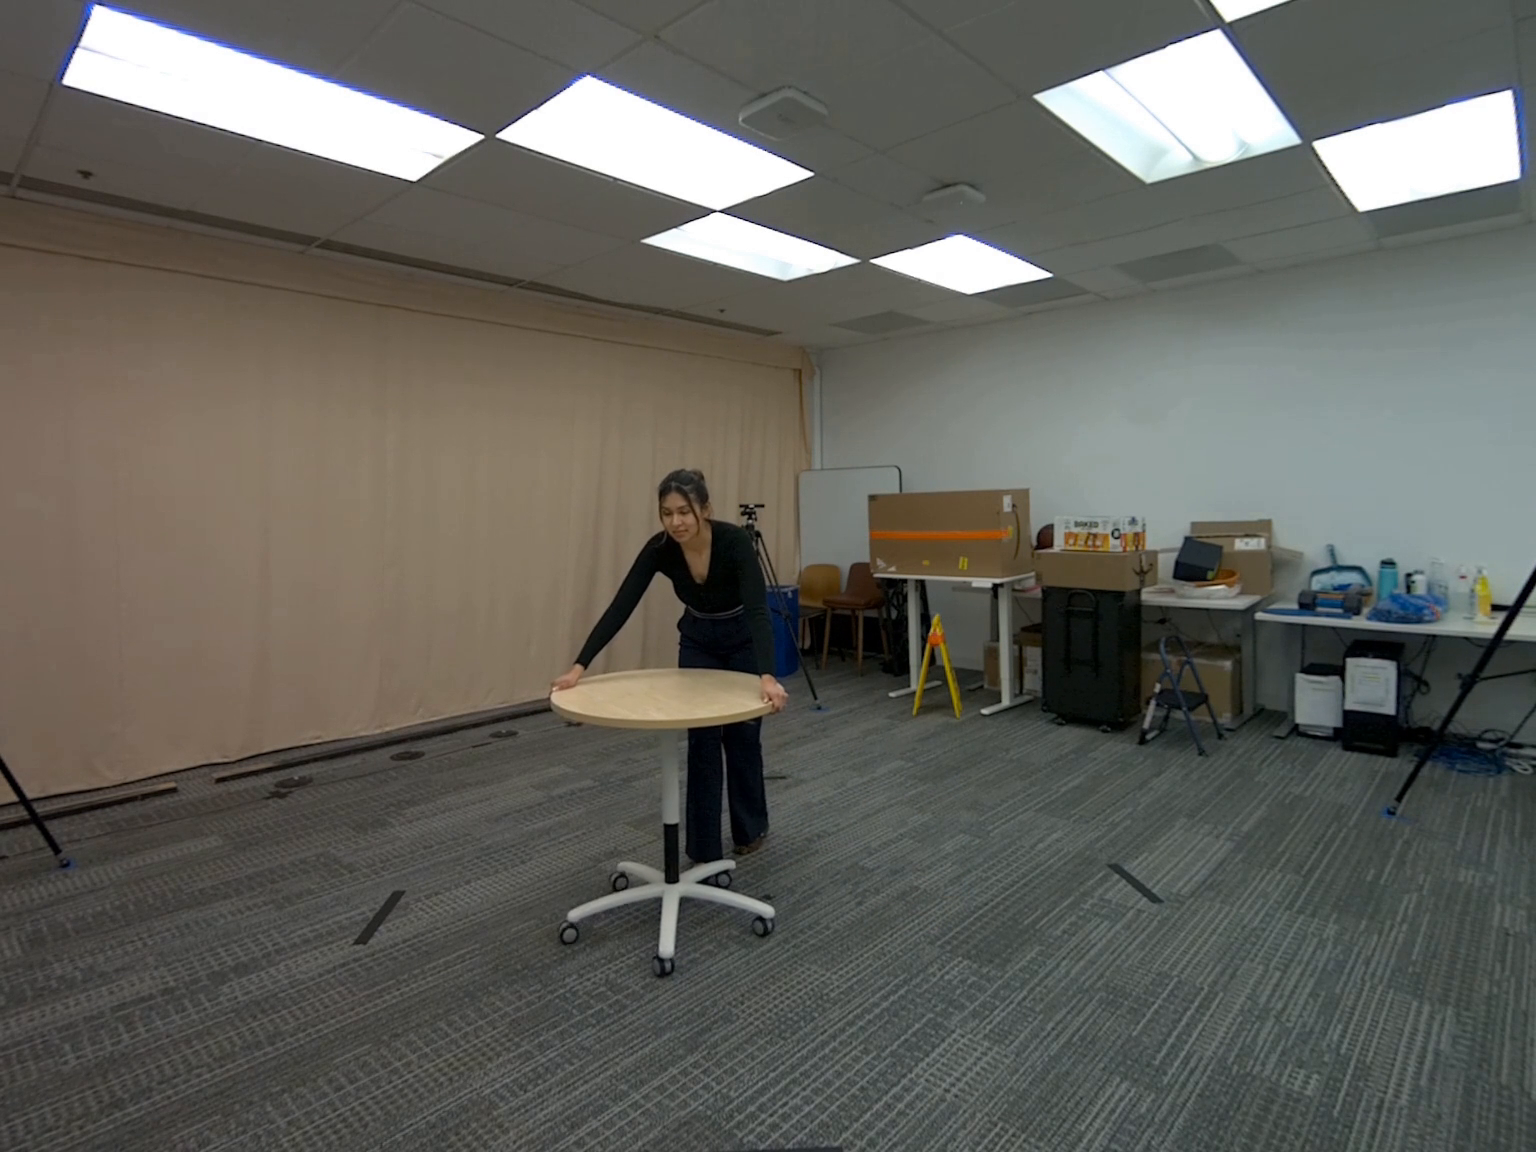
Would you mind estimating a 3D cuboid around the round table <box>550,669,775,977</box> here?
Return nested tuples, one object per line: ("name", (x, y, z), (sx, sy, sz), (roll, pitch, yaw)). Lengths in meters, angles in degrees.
("round table", (-0.322, 0.771, 2.793), (0.763, 0.792, 0.766), (-1, 3, -2))
